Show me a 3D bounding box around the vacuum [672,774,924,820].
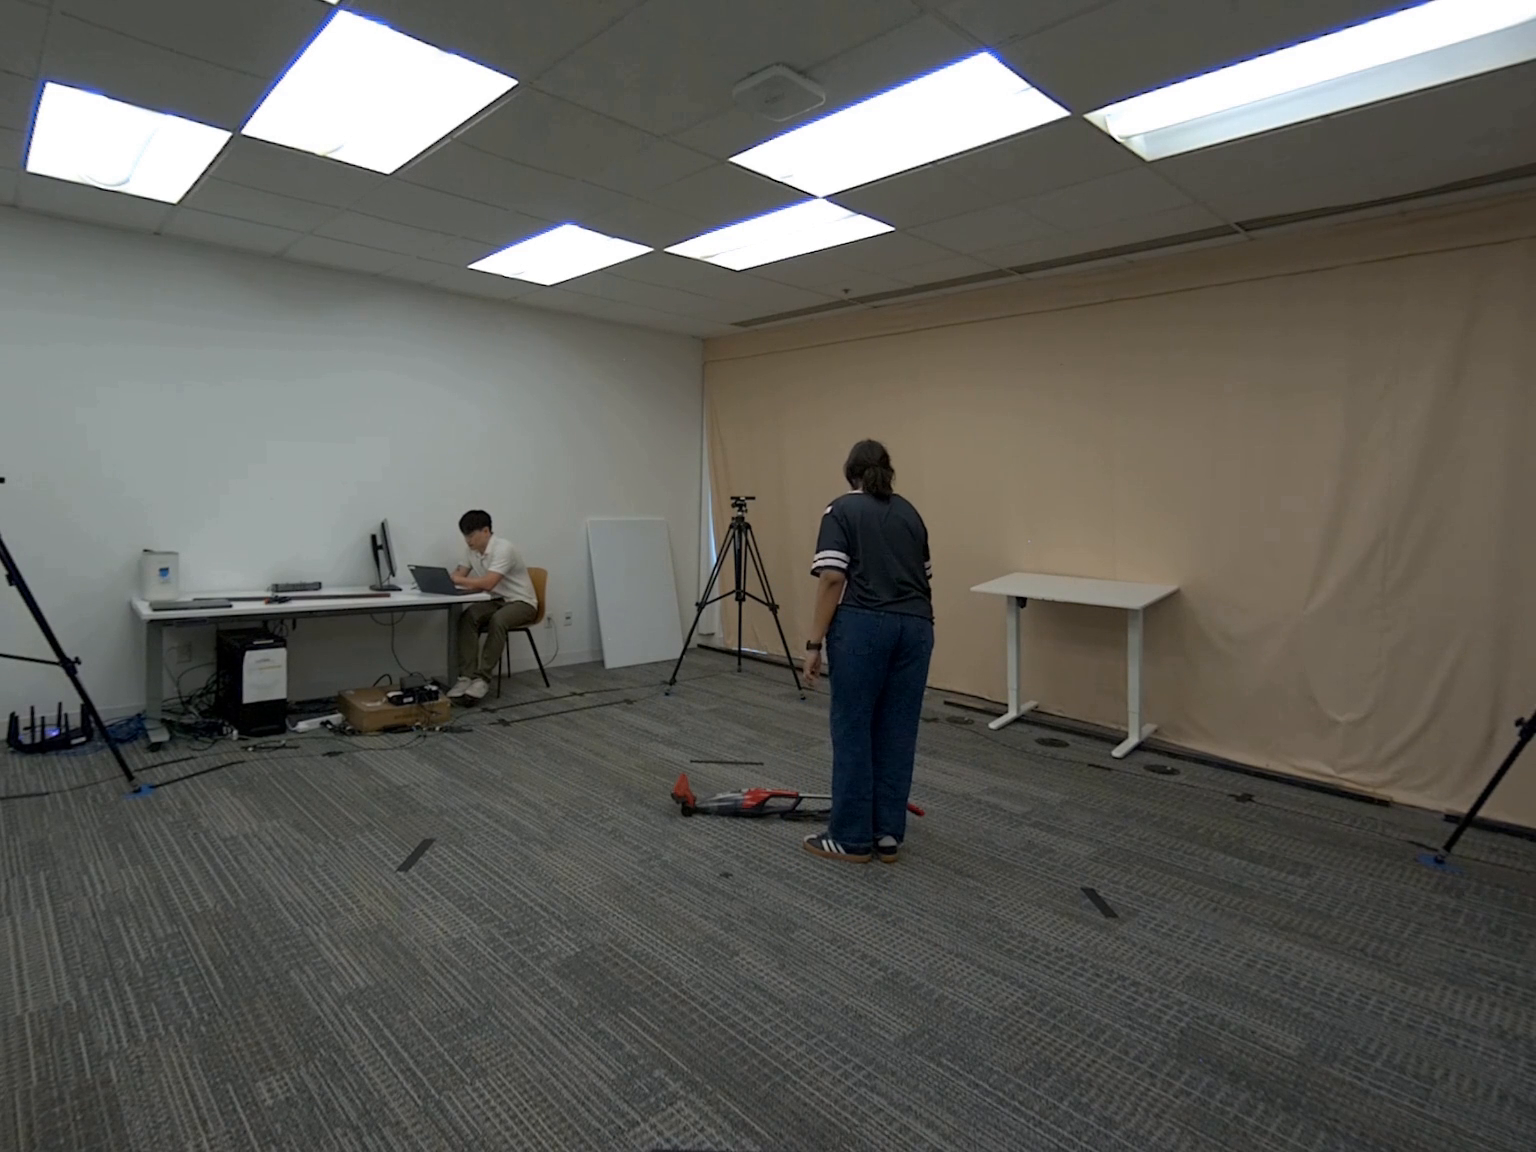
[{"bbox_3d":[0.136,0.999,3.670,1.054,0.143,0.252,3,5,5],"label":"vacuum"}]
